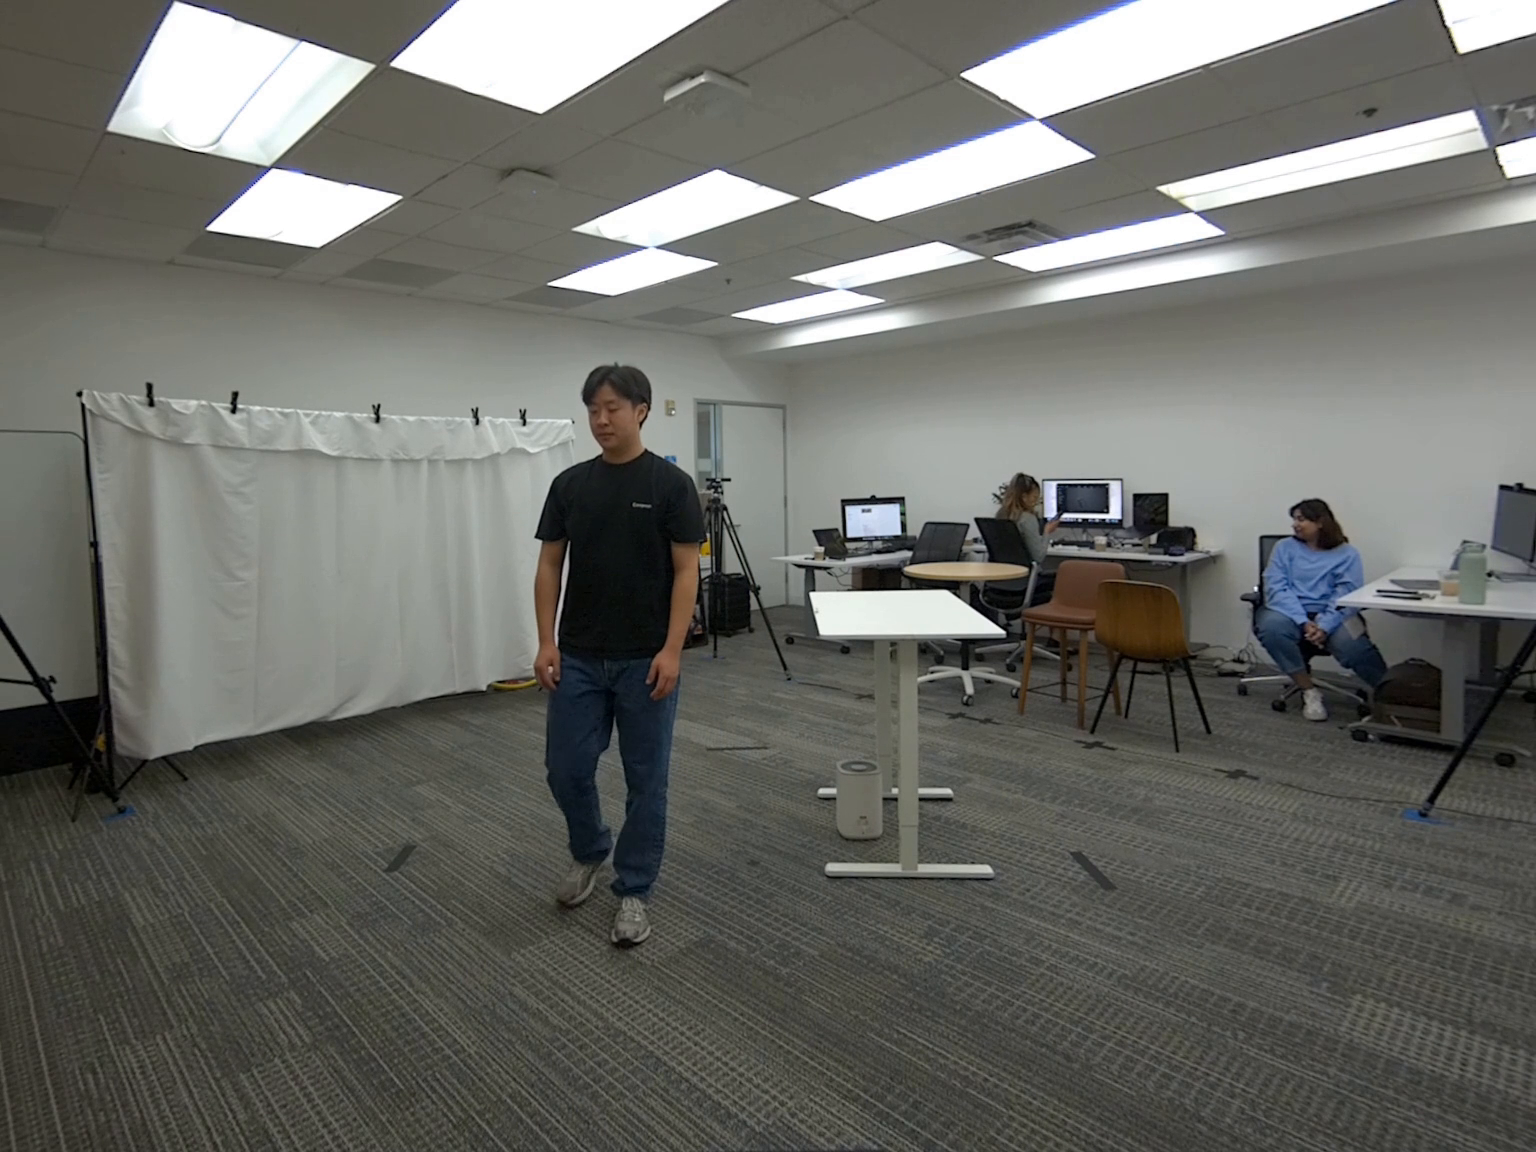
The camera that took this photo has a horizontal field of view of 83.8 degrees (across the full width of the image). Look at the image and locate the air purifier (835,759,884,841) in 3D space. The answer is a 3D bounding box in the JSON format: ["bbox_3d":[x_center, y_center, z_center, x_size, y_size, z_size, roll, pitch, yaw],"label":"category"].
[{"bbox_3d":[0.353,0.872,3.344,0.171,0.265,0.172,-1,3,-3],"label":"air purifier"}]
